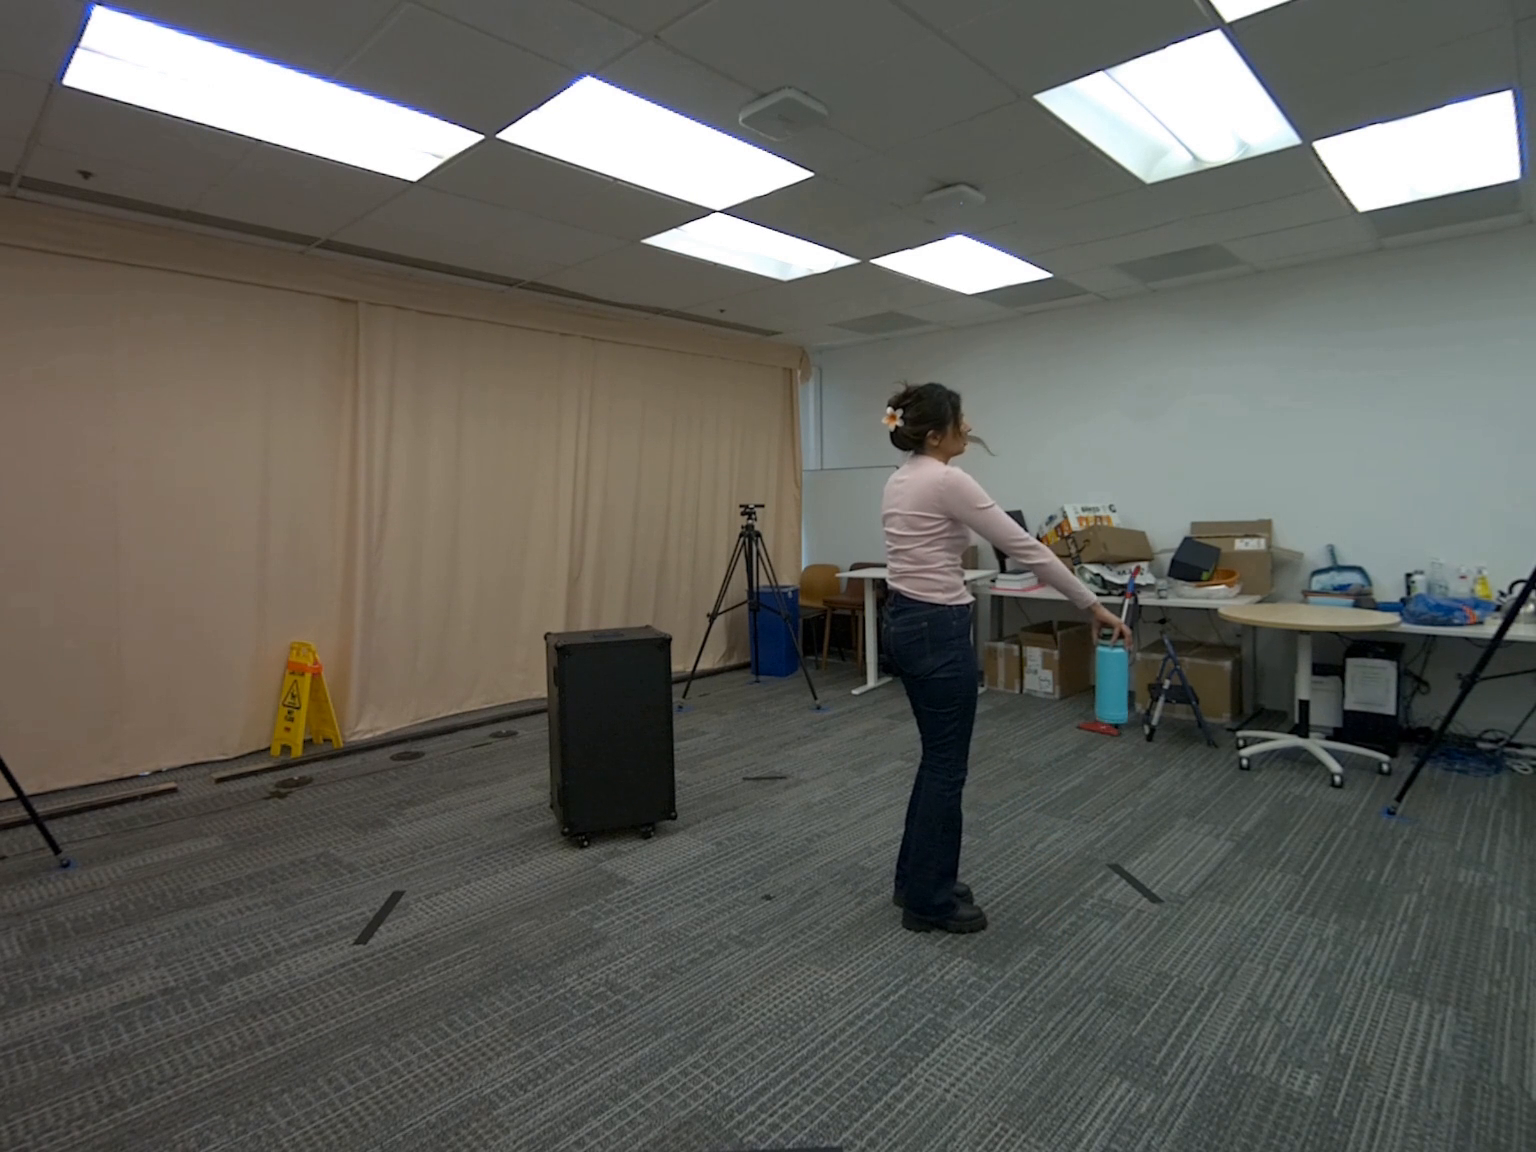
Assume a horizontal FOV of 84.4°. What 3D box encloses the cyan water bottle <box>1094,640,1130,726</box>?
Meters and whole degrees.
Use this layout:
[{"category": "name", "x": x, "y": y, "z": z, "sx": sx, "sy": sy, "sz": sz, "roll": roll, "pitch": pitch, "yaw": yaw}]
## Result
[{"category": "cyan water bottle", "x": 1.055, "y": 0.296, "z": 2.551, "sx": 0.092, "sy": 0.283, "sz": 0.092, "roll": -1, "pitch": 1, "yaw": -2}]
